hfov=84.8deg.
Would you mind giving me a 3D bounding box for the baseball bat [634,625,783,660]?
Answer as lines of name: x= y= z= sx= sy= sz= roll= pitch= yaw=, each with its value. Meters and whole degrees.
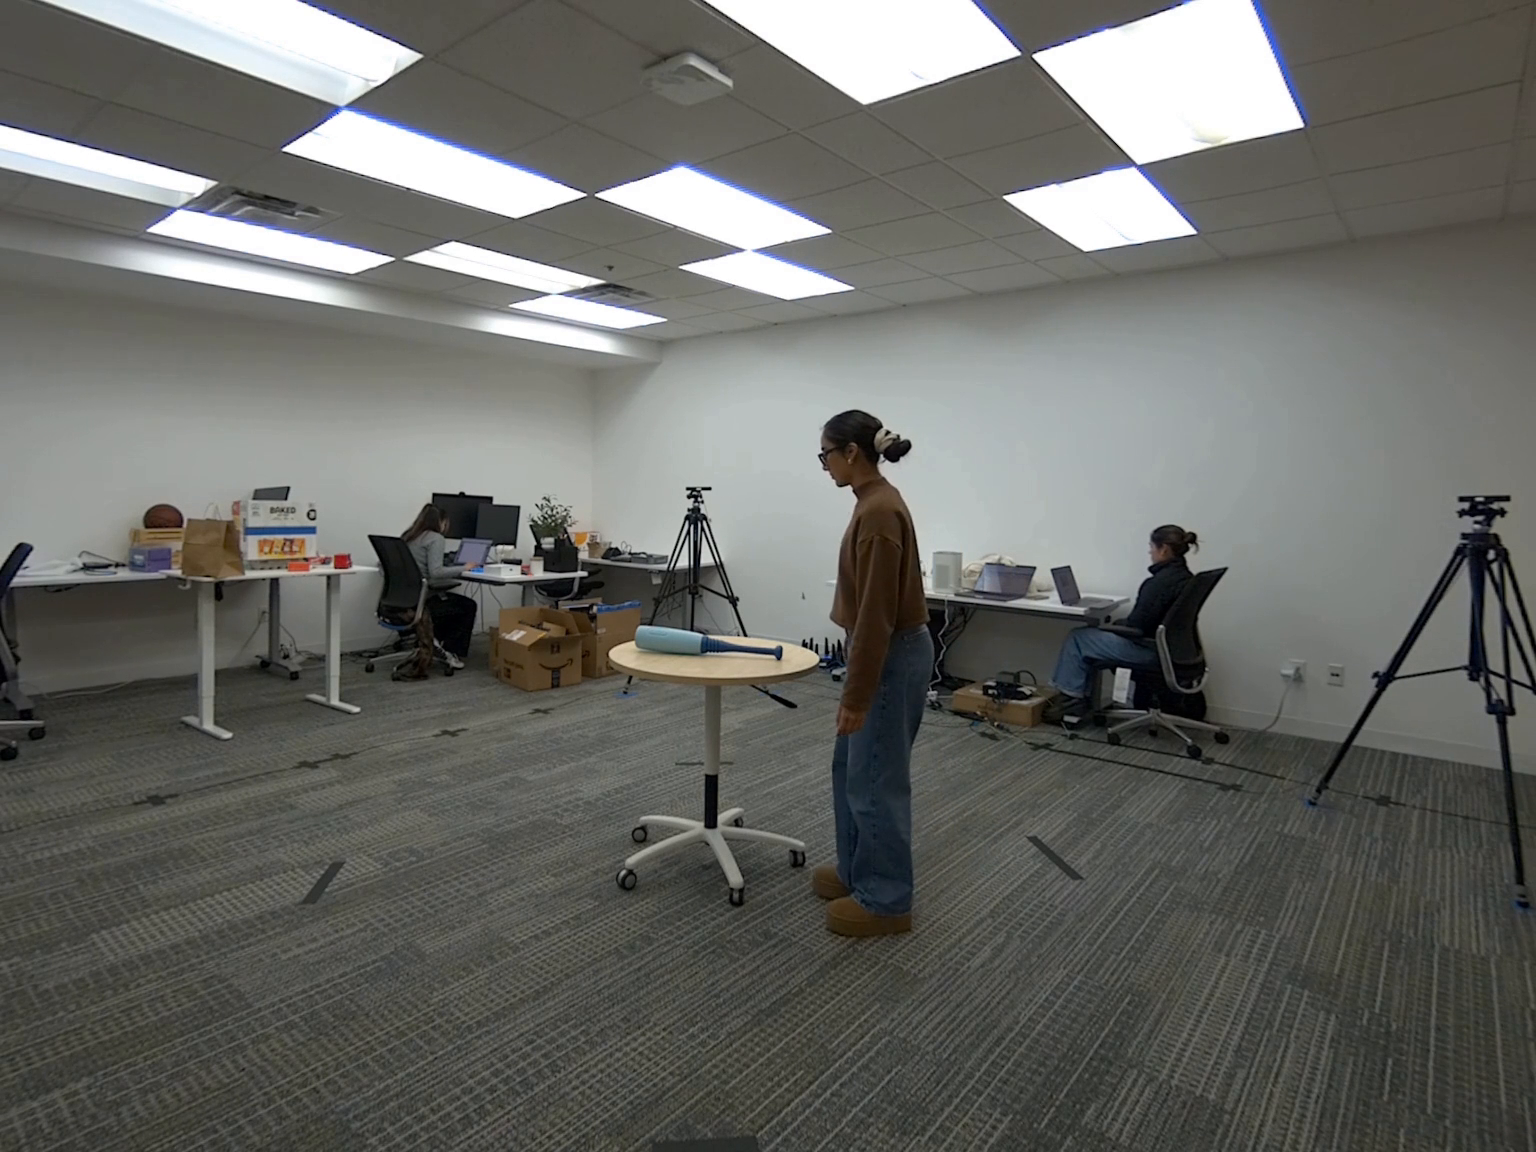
baseball bat: x=-0.226 y=0.251 z=3.081 sx=0.549 sy=0.089 sz=0.088 roll=6 pitch=5 yaw=9
